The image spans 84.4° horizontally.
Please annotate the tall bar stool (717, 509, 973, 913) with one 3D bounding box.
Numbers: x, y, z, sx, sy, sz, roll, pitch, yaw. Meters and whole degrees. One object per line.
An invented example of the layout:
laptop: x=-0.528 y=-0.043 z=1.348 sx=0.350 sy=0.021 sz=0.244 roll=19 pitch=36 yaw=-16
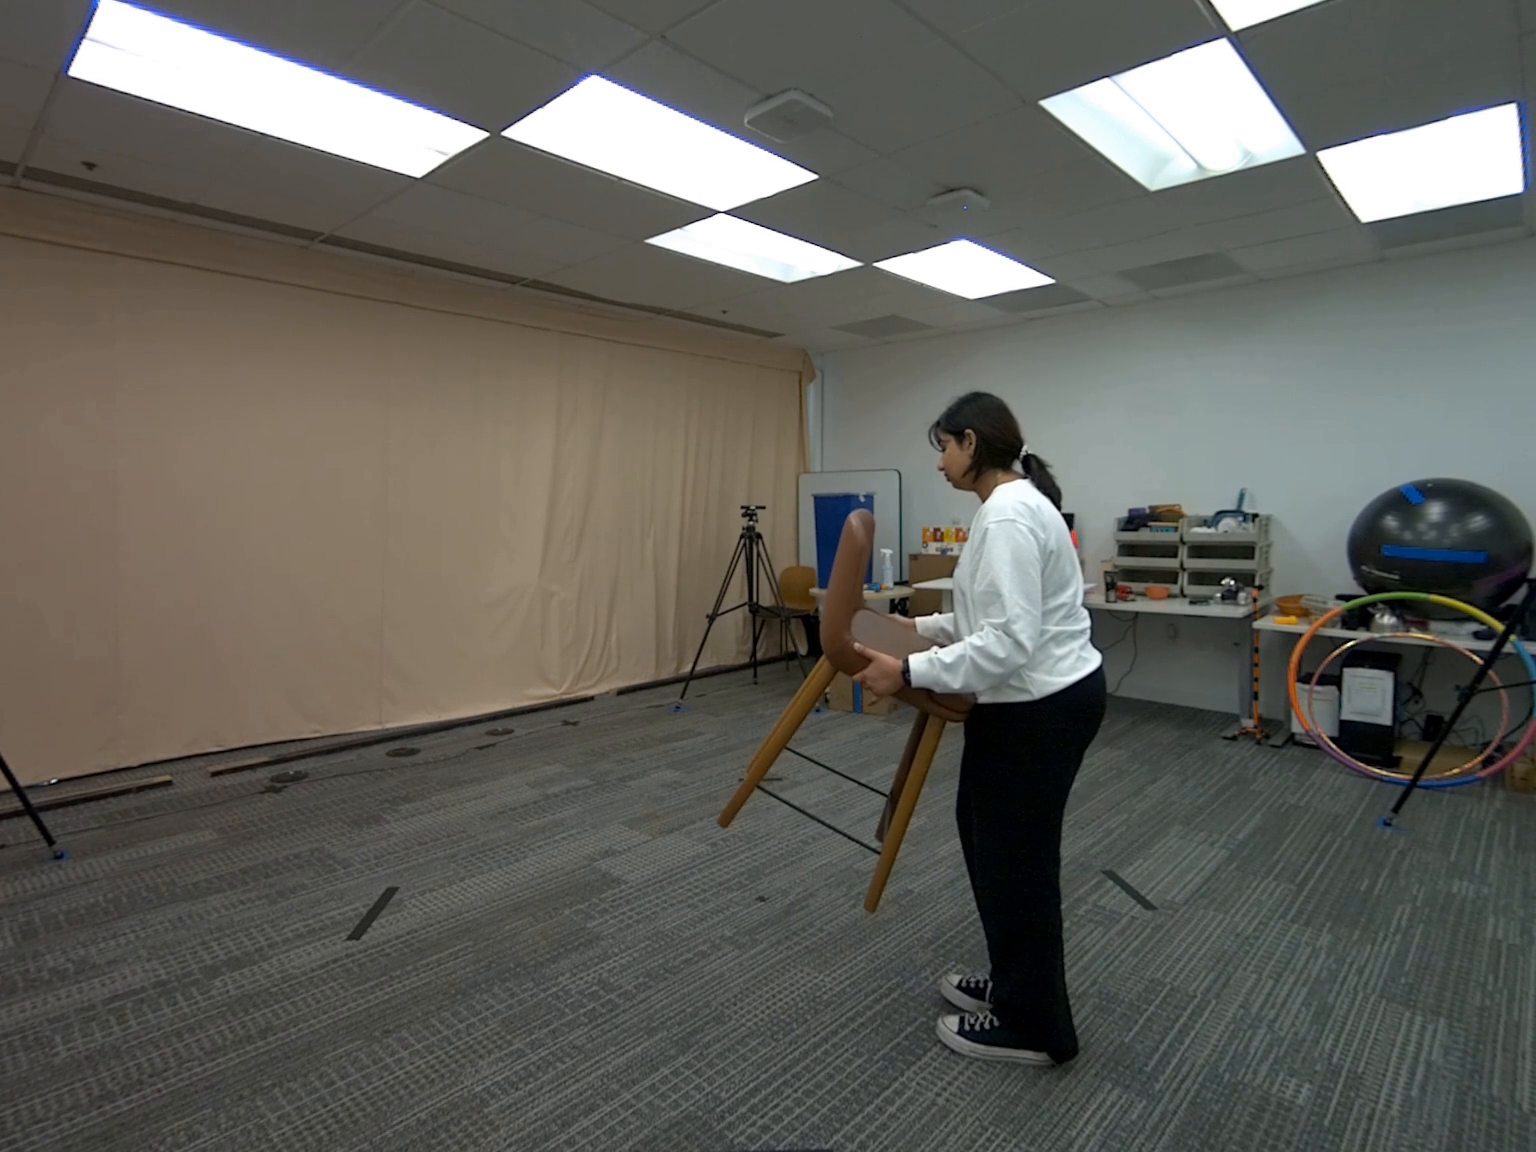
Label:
tall bar stool: x=0.289 y=0.331 z=2.234 sx=0.474 sy=0.888 sz=0.452 roll=24 pitch=12 yaw=9
